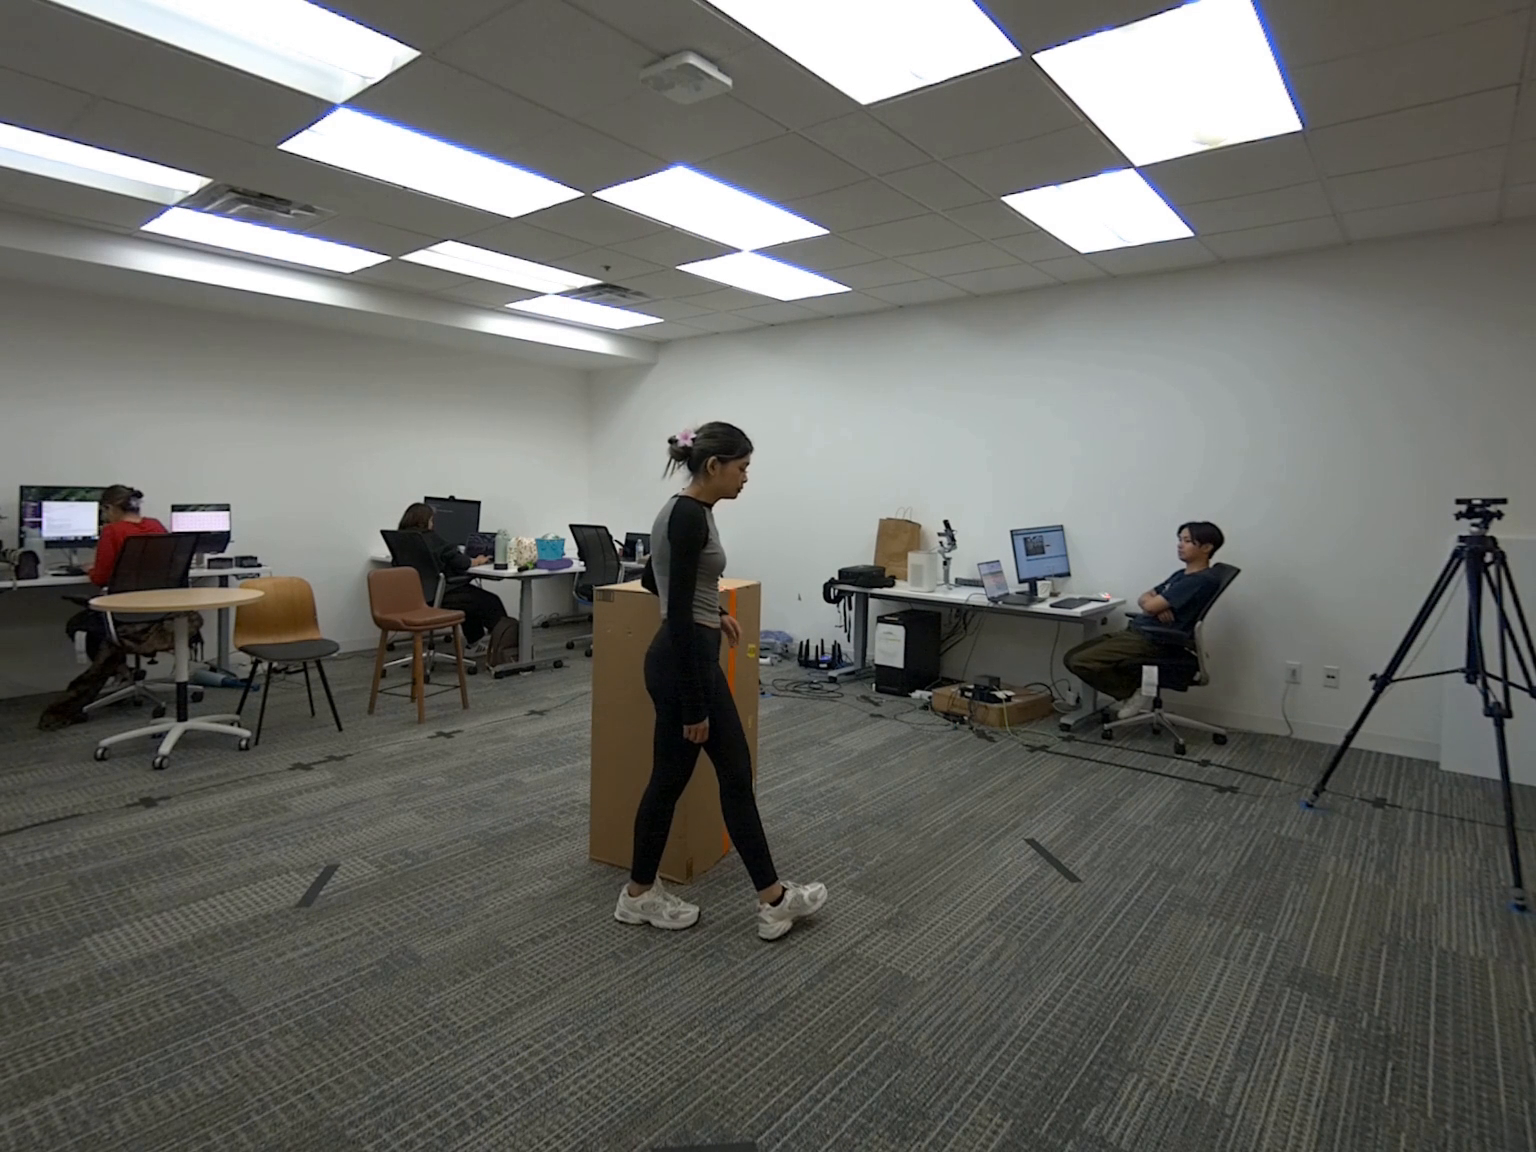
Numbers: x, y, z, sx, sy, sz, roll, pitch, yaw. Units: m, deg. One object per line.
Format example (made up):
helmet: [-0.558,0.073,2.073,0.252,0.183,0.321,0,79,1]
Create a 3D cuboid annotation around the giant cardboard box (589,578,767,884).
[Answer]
giant cardboard box: [-0.357,0.538,3.304,0.438,1.023,0.563,3,4,27]
